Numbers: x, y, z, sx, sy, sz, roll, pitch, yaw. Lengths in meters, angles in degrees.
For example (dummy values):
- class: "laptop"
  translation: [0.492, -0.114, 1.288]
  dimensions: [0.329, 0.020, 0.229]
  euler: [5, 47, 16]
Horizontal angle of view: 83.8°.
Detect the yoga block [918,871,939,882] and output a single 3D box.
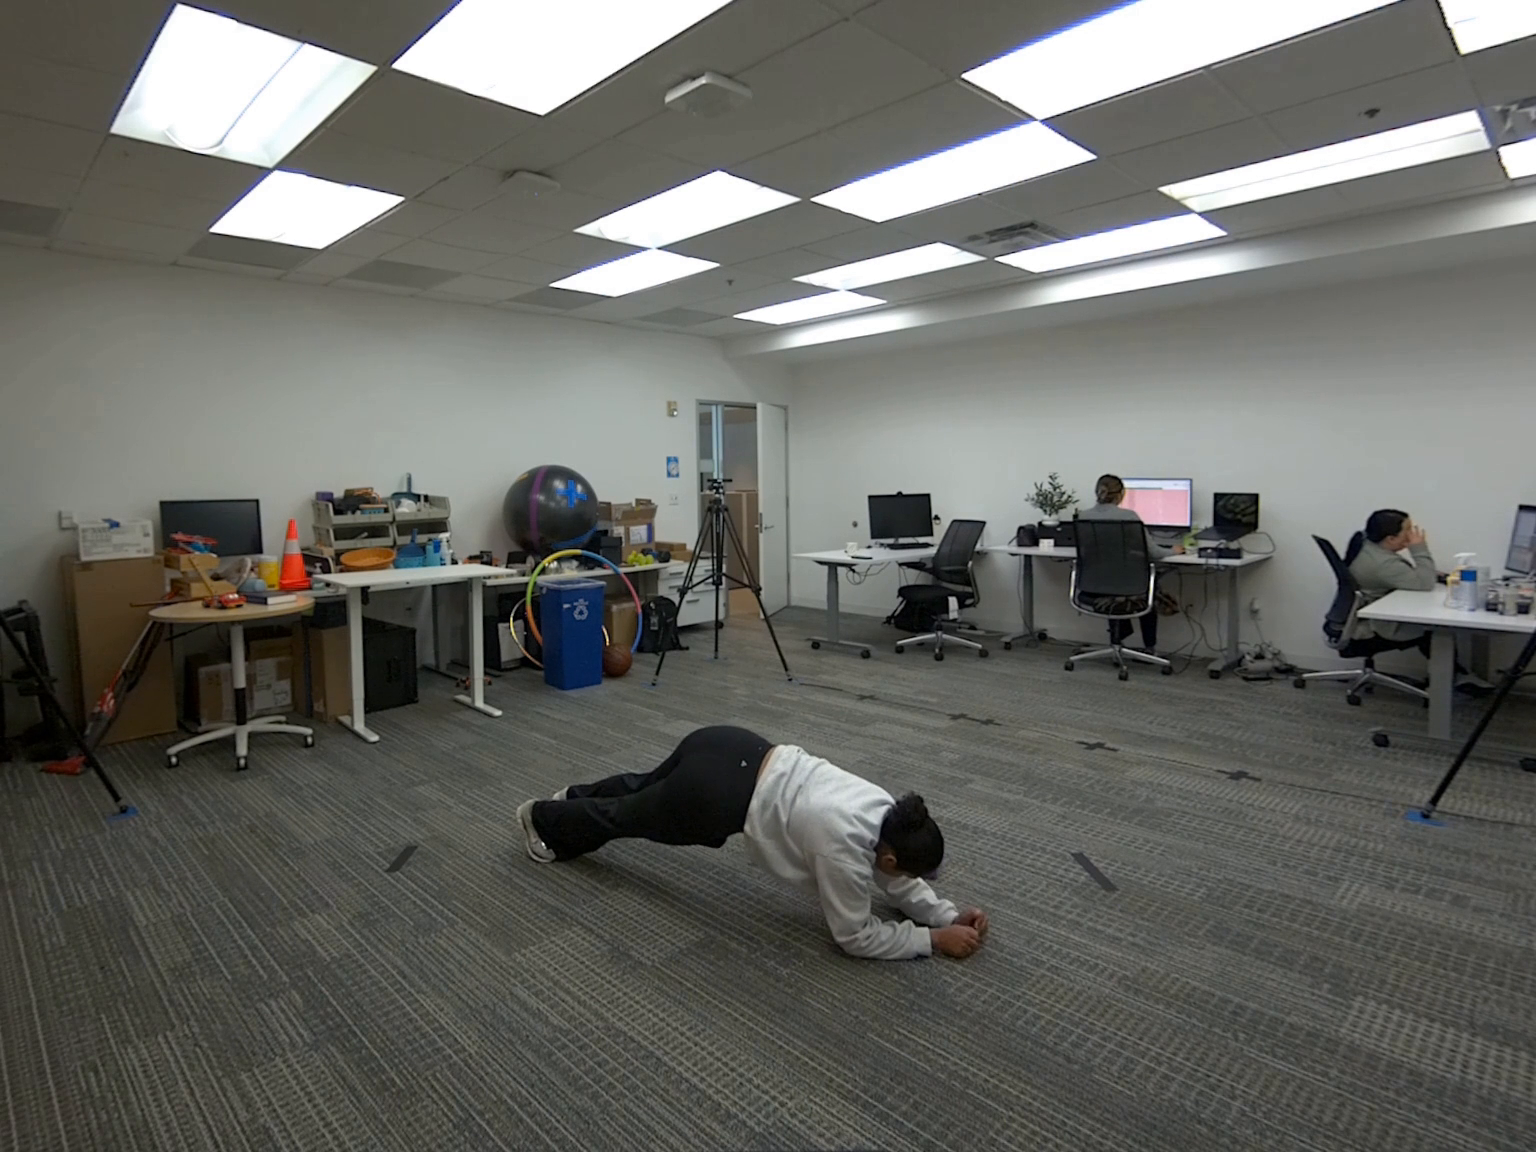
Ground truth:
- class: "yoga block"
  translation: [0.504, 1.002, 3.056]
  dimensions: [0.234, 0.076, 0.146]
  euler: [1, 5, 21]
